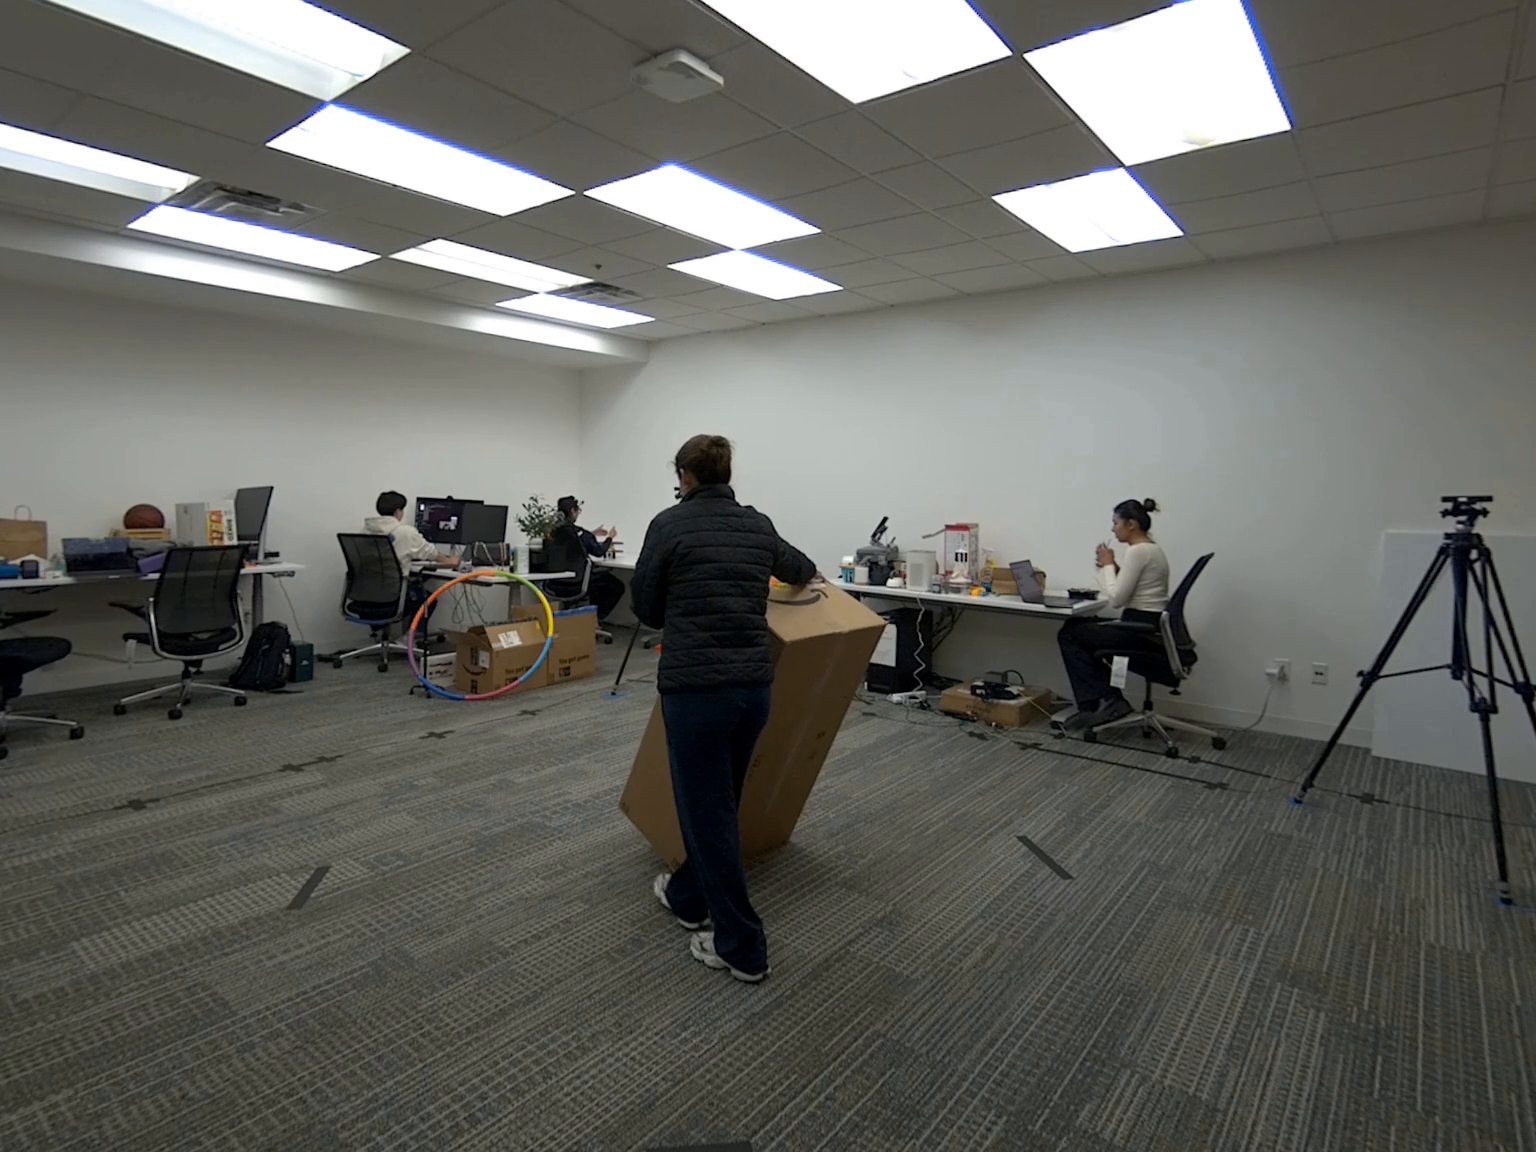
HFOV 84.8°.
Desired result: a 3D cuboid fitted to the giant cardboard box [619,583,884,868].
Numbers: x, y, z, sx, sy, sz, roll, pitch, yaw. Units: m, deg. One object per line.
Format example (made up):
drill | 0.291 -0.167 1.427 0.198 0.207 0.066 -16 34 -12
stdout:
giant cardboard box | -0.061 0.517 3.142 0.560 1.015 0.444 -3 31 -48
